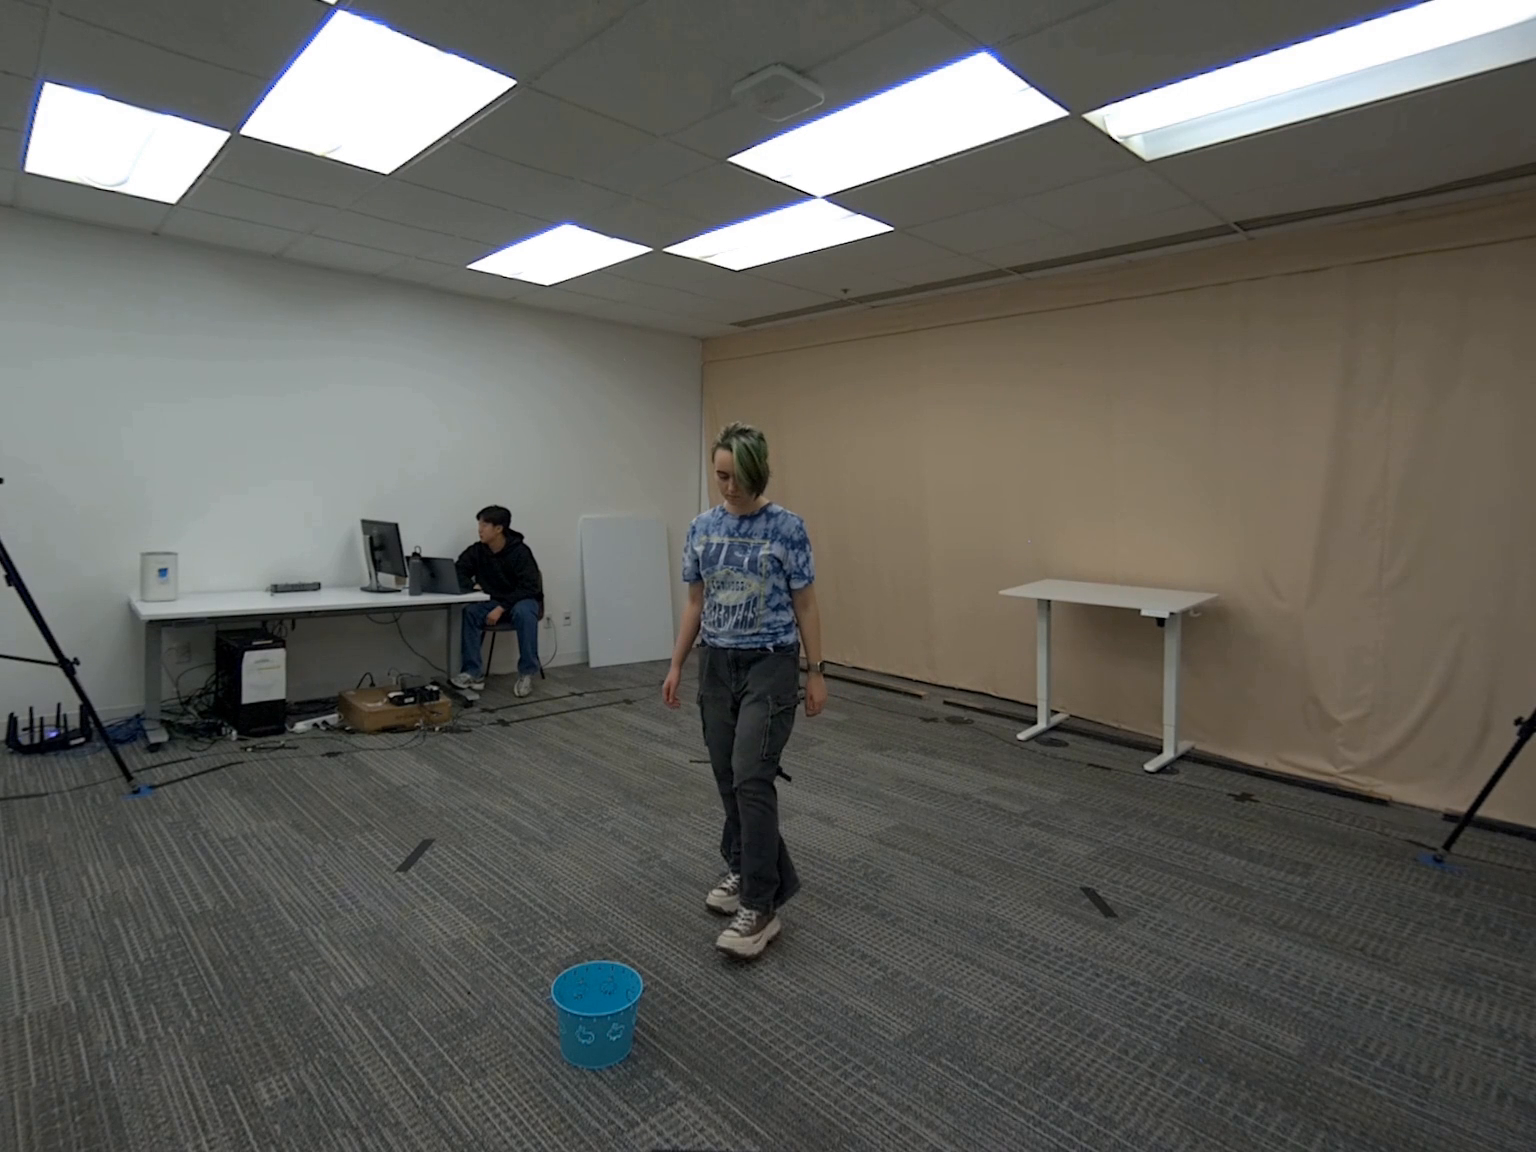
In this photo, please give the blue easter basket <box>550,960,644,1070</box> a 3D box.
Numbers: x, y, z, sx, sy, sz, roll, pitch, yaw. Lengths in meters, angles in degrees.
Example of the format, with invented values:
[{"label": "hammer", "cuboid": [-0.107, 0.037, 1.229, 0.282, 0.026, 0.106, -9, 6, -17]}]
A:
[{"label": "blue easter basket", "cuboid": [-0.435, 1.114, 2.122, 0.243, 0.155, 0.244, 1, 5, -1]}]
